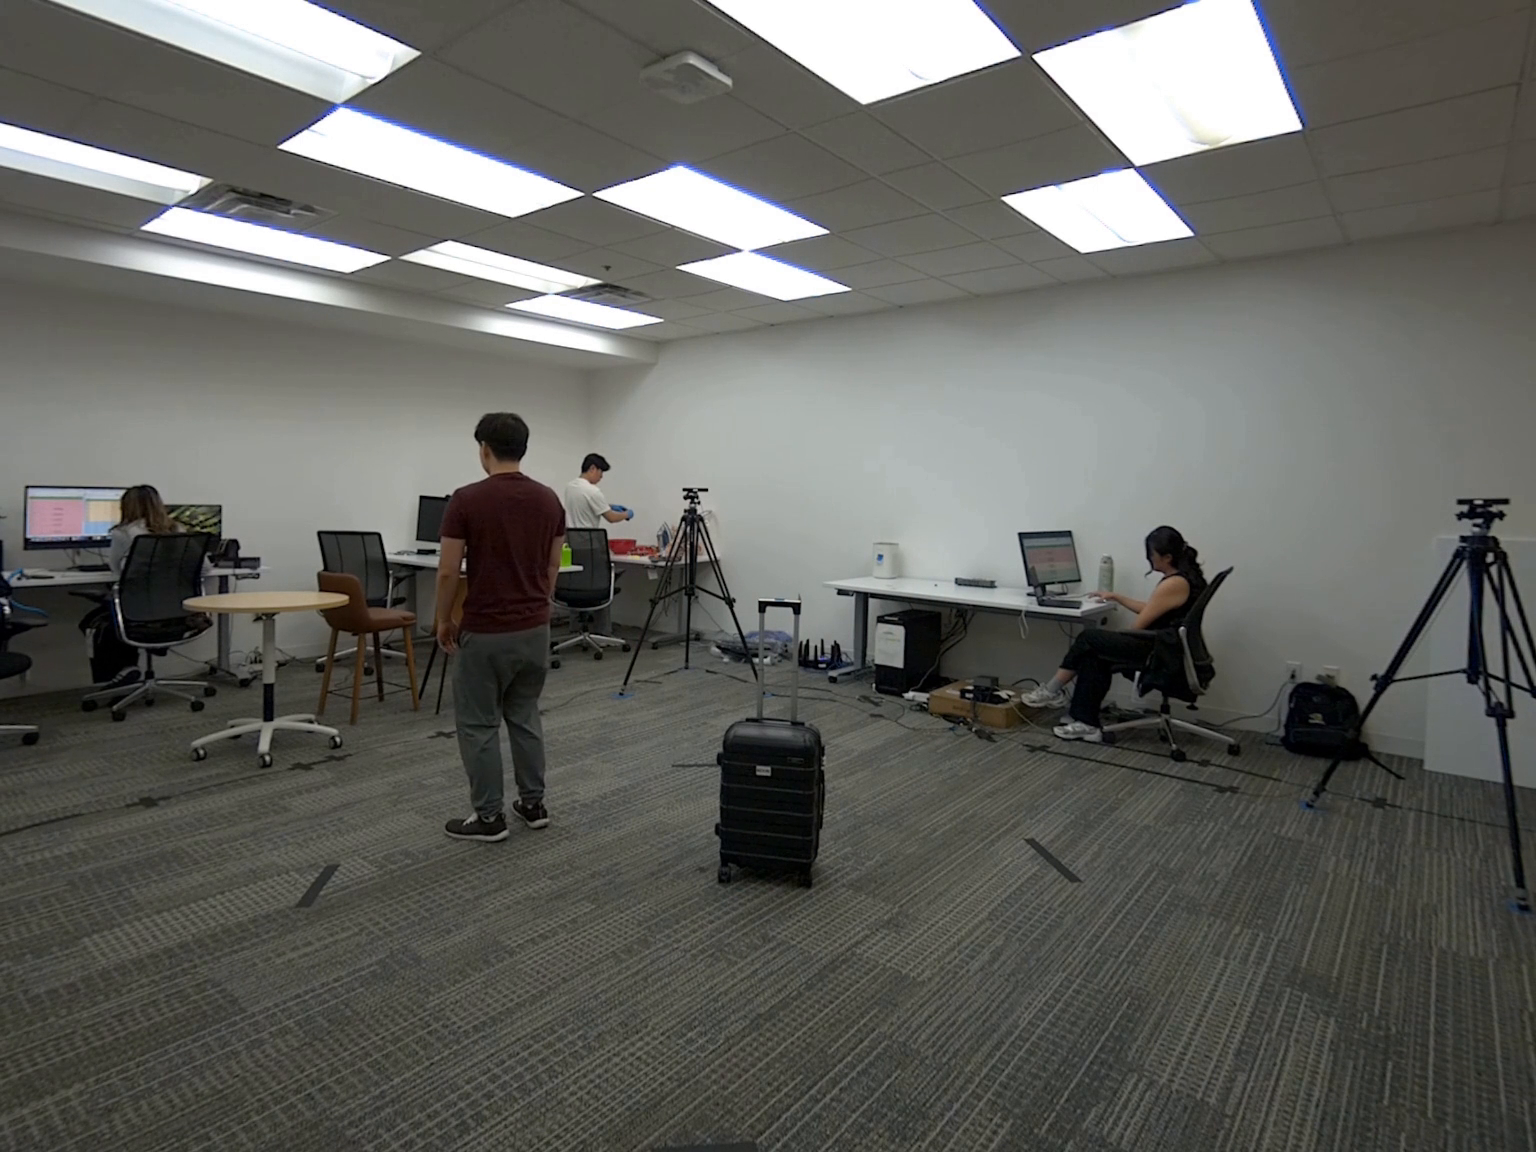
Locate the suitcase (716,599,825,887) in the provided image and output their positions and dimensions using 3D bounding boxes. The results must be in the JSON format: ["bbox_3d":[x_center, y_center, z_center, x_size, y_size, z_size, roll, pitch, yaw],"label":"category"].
[{"bbox_3d":[0.013,0.598,3.079,0.388,0.974,0.255,2,4,9],"label":"suitcase"}]
